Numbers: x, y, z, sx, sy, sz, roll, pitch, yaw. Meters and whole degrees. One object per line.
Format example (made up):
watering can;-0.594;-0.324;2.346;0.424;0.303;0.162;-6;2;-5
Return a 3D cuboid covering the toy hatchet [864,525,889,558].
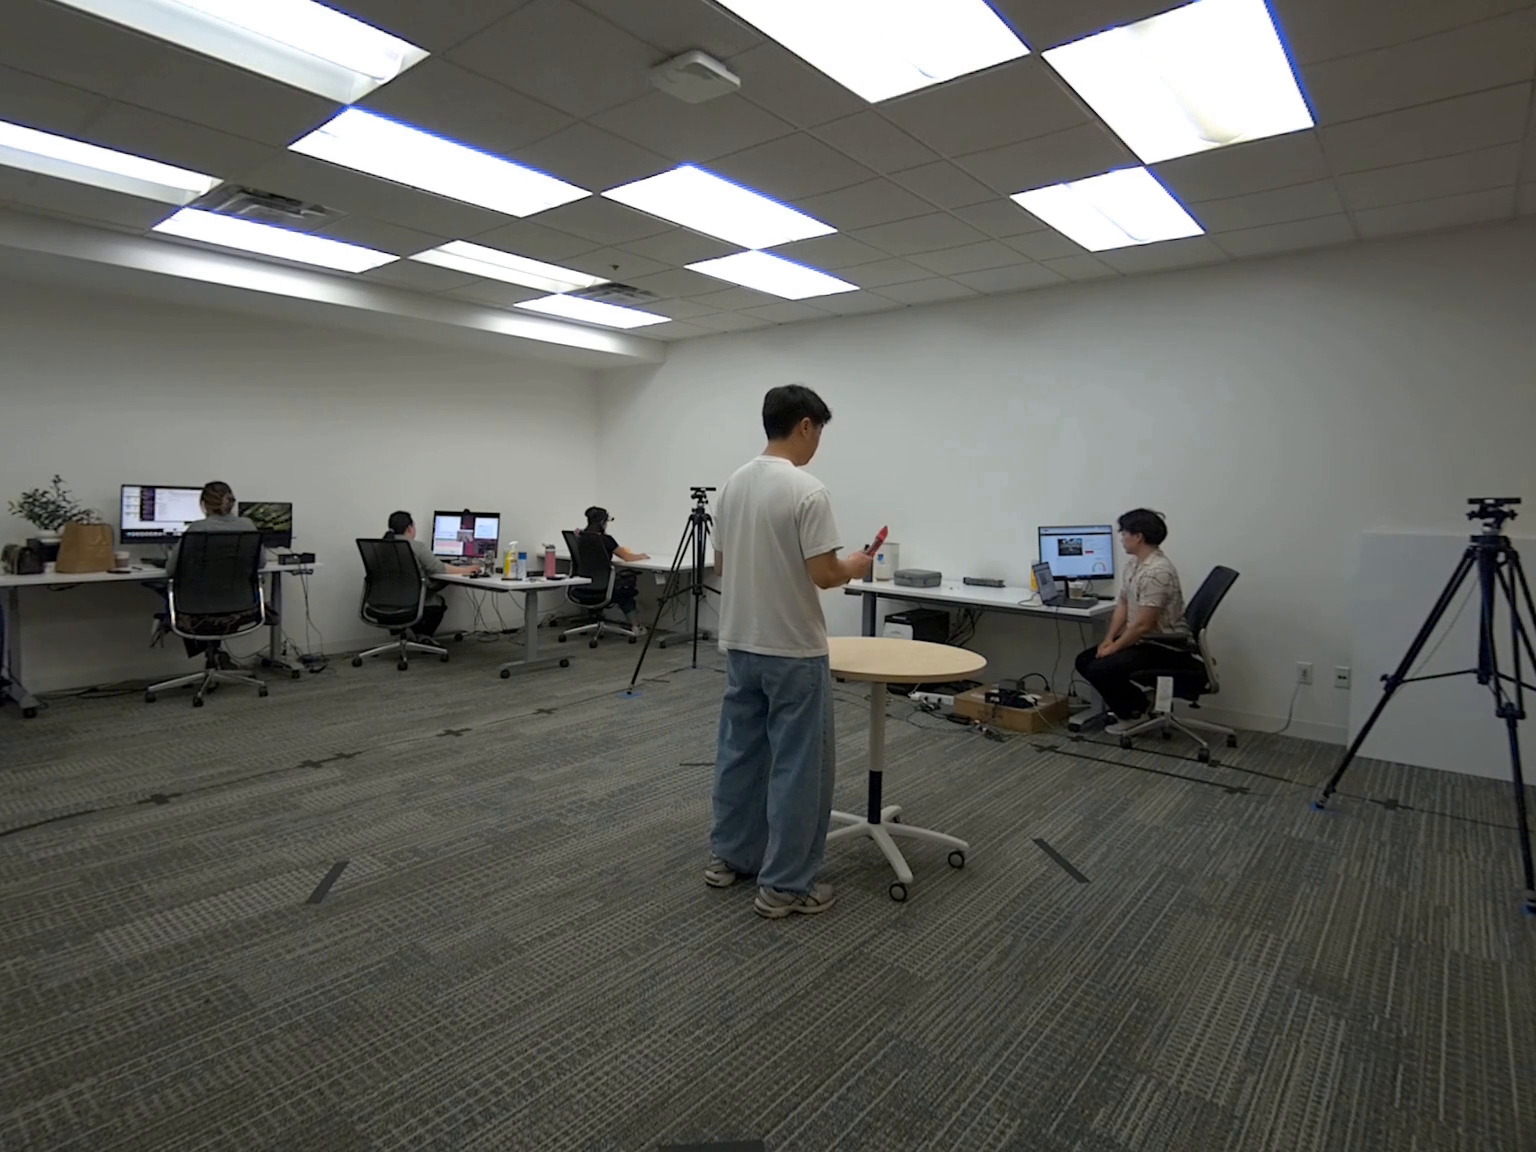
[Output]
toy hatchet;0.337;-0.060;3.012;0.030;0.270;0.128;34;-20;13
